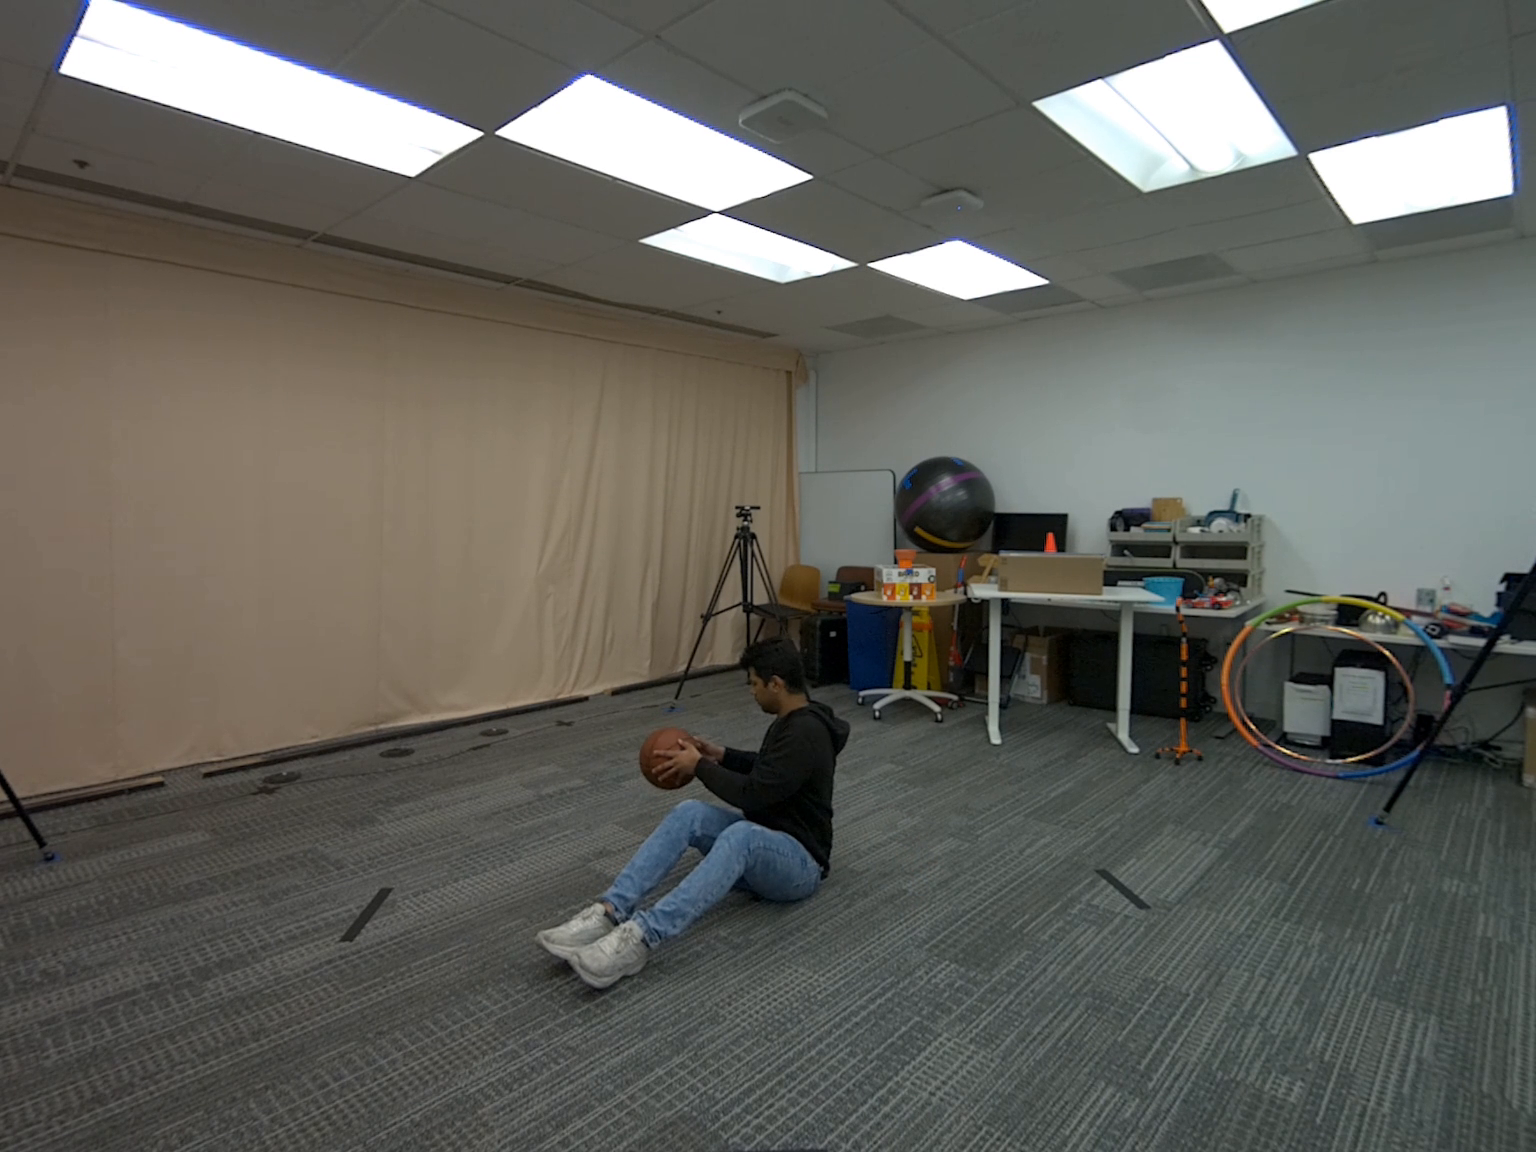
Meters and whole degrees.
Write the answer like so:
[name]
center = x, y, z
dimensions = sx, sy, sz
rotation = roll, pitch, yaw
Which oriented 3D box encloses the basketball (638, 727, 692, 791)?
[basketball]
center = -0.369, 0.710, 3.251
dimensions = 0.236, 0.235, 0.237
rotation = 0, 4, -2
